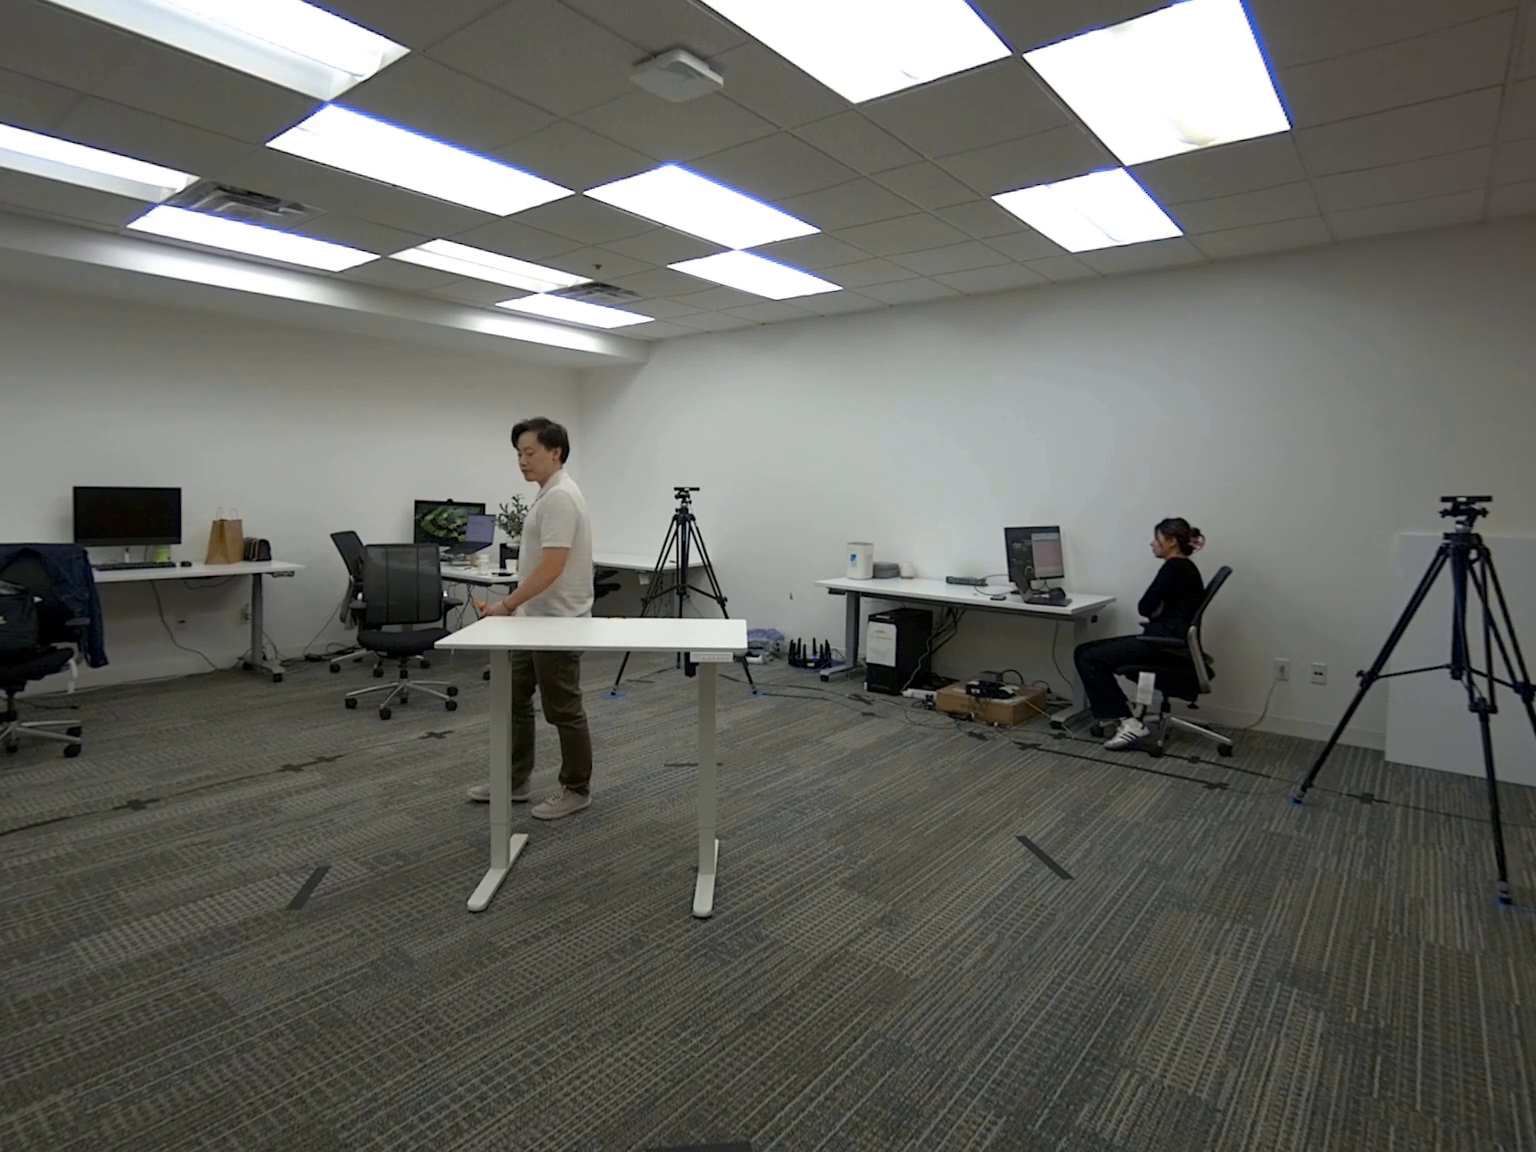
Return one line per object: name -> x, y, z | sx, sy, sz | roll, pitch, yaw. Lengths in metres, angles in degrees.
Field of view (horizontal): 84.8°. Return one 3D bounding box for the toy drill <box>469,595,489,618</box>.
toy drill -> -1.133, 0.173, 3.443 | 0.173, 0.145, 0.060 | 39, 29, 11
